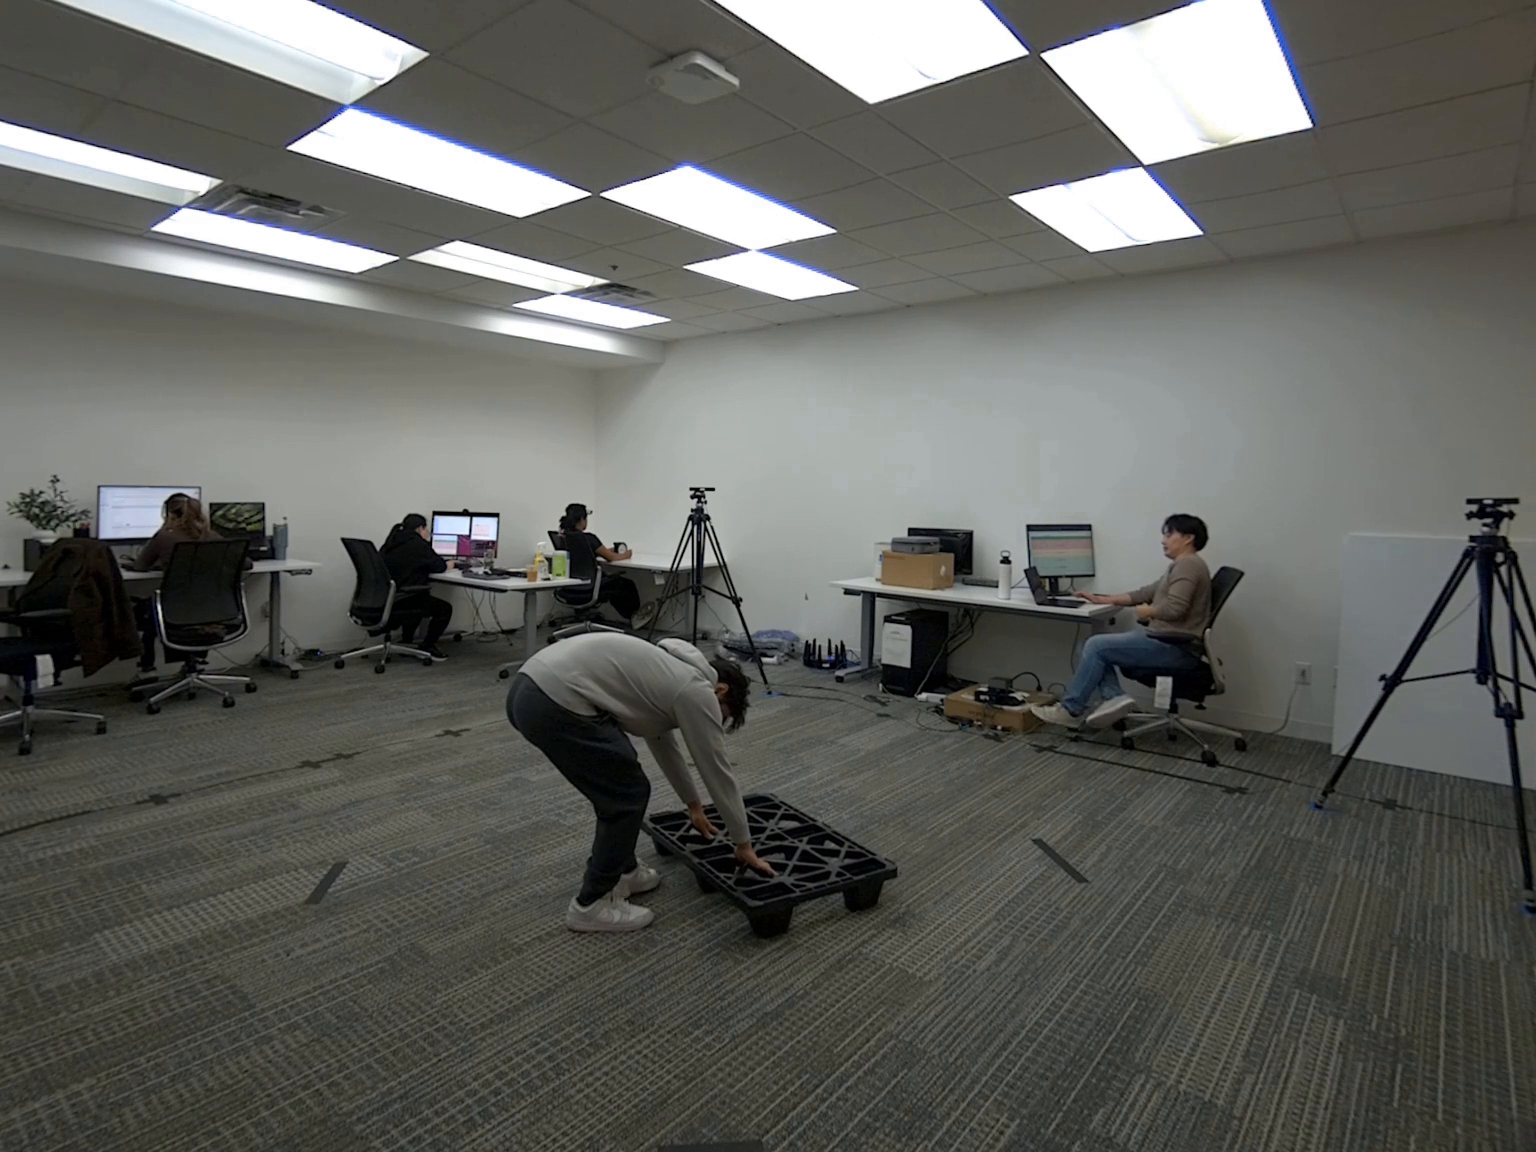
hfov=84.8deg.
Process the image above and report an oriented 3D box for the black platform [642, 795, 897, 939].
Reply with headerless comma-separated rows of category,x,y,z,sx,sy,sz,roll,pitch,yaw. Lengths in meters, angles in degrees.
black platform,-0.035,1.008,3.046,0.589,0.143,0.831,-3,7,-32
